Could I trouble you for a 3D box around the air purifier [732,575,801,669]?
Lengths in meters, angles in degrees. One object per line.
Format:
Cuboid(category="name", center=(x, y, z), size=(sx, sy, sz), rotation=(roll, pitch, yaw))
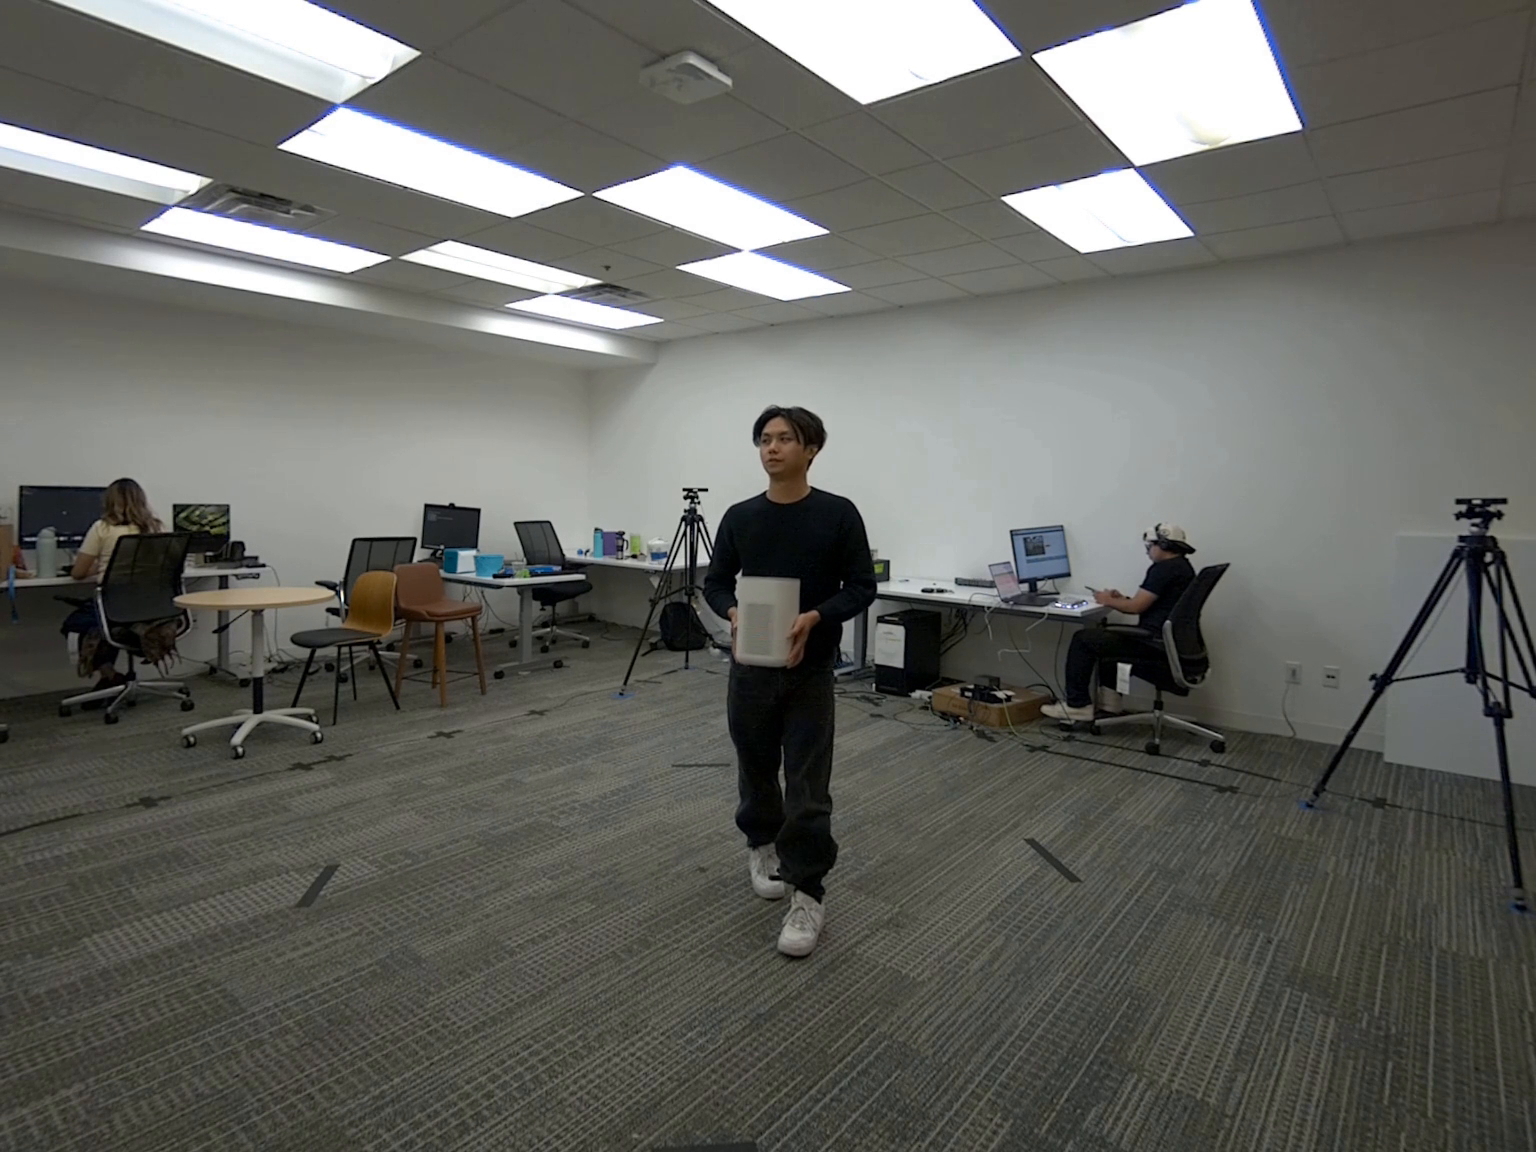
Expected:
Cuboid(category="air purifier", center=(-0.012, 0.136, 2.618), size=(0.176, 0.267, 0.166), rotation=(-1, -5, 29))
